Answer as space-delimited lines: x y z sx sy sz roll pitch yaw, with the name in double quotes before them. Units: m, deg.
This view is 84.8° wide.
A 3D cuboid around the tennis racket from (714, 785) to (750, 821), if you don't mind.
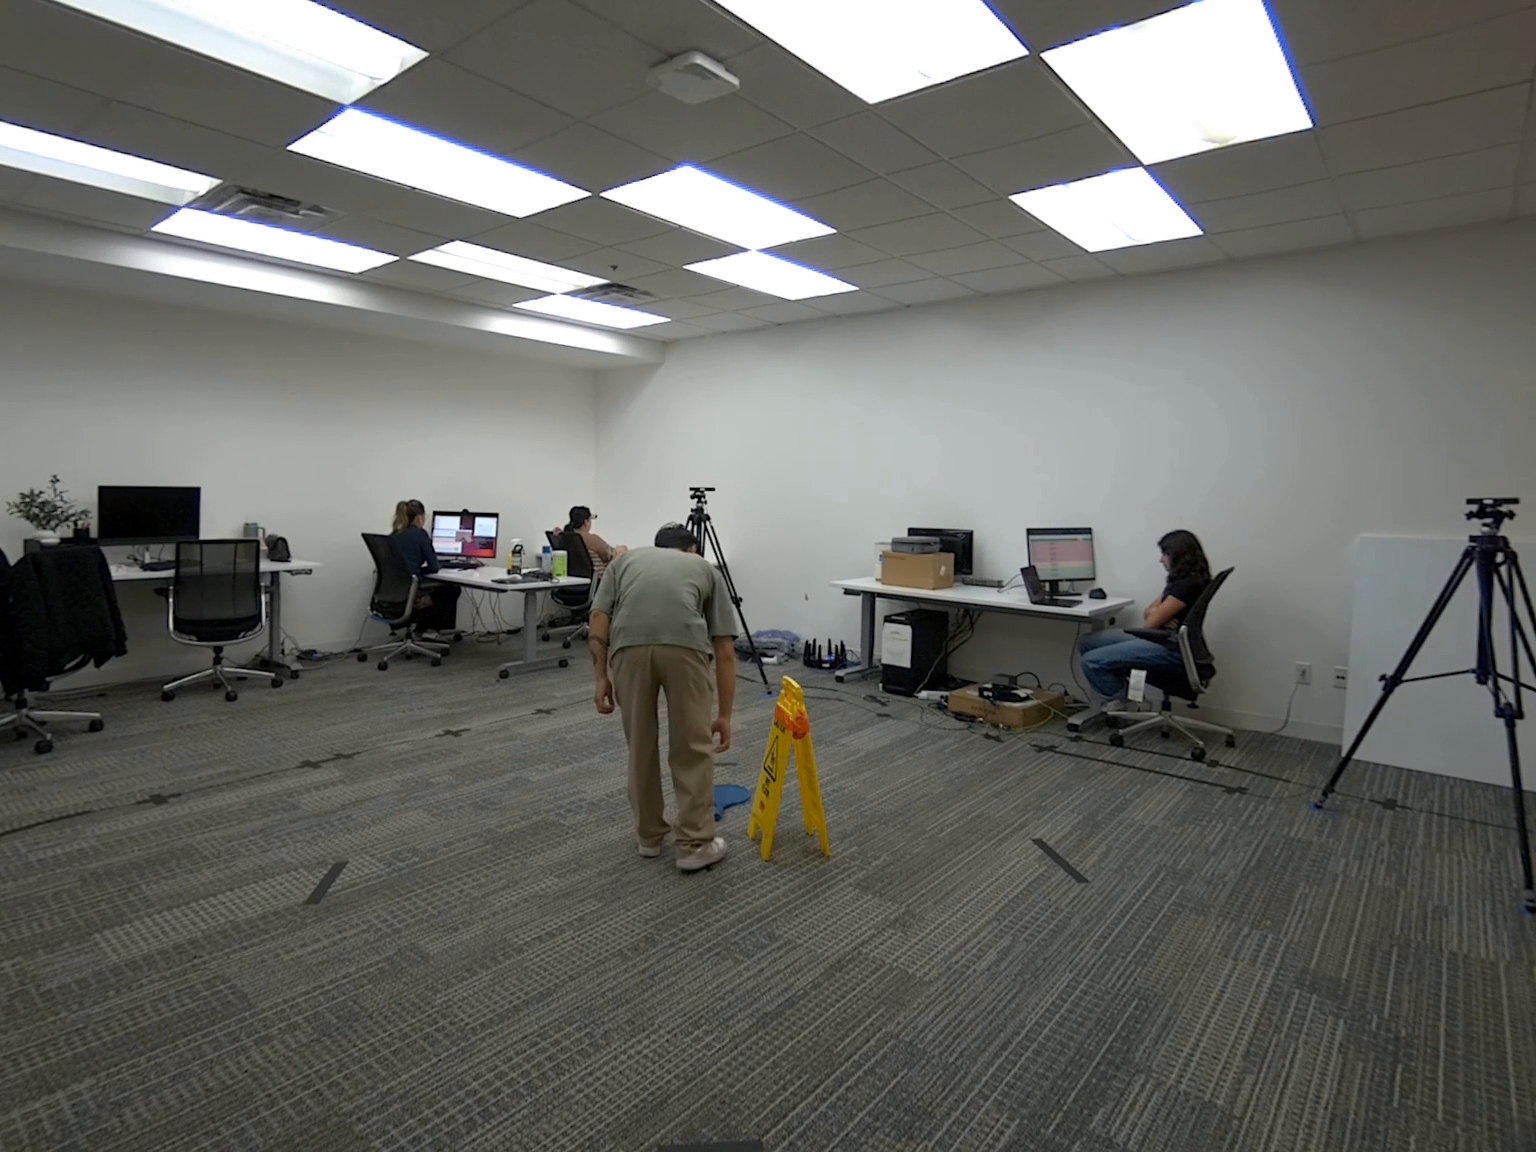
"tennis racket" -0.205 0.987 3.764 0.216 0.032 0.430 1 4 7
